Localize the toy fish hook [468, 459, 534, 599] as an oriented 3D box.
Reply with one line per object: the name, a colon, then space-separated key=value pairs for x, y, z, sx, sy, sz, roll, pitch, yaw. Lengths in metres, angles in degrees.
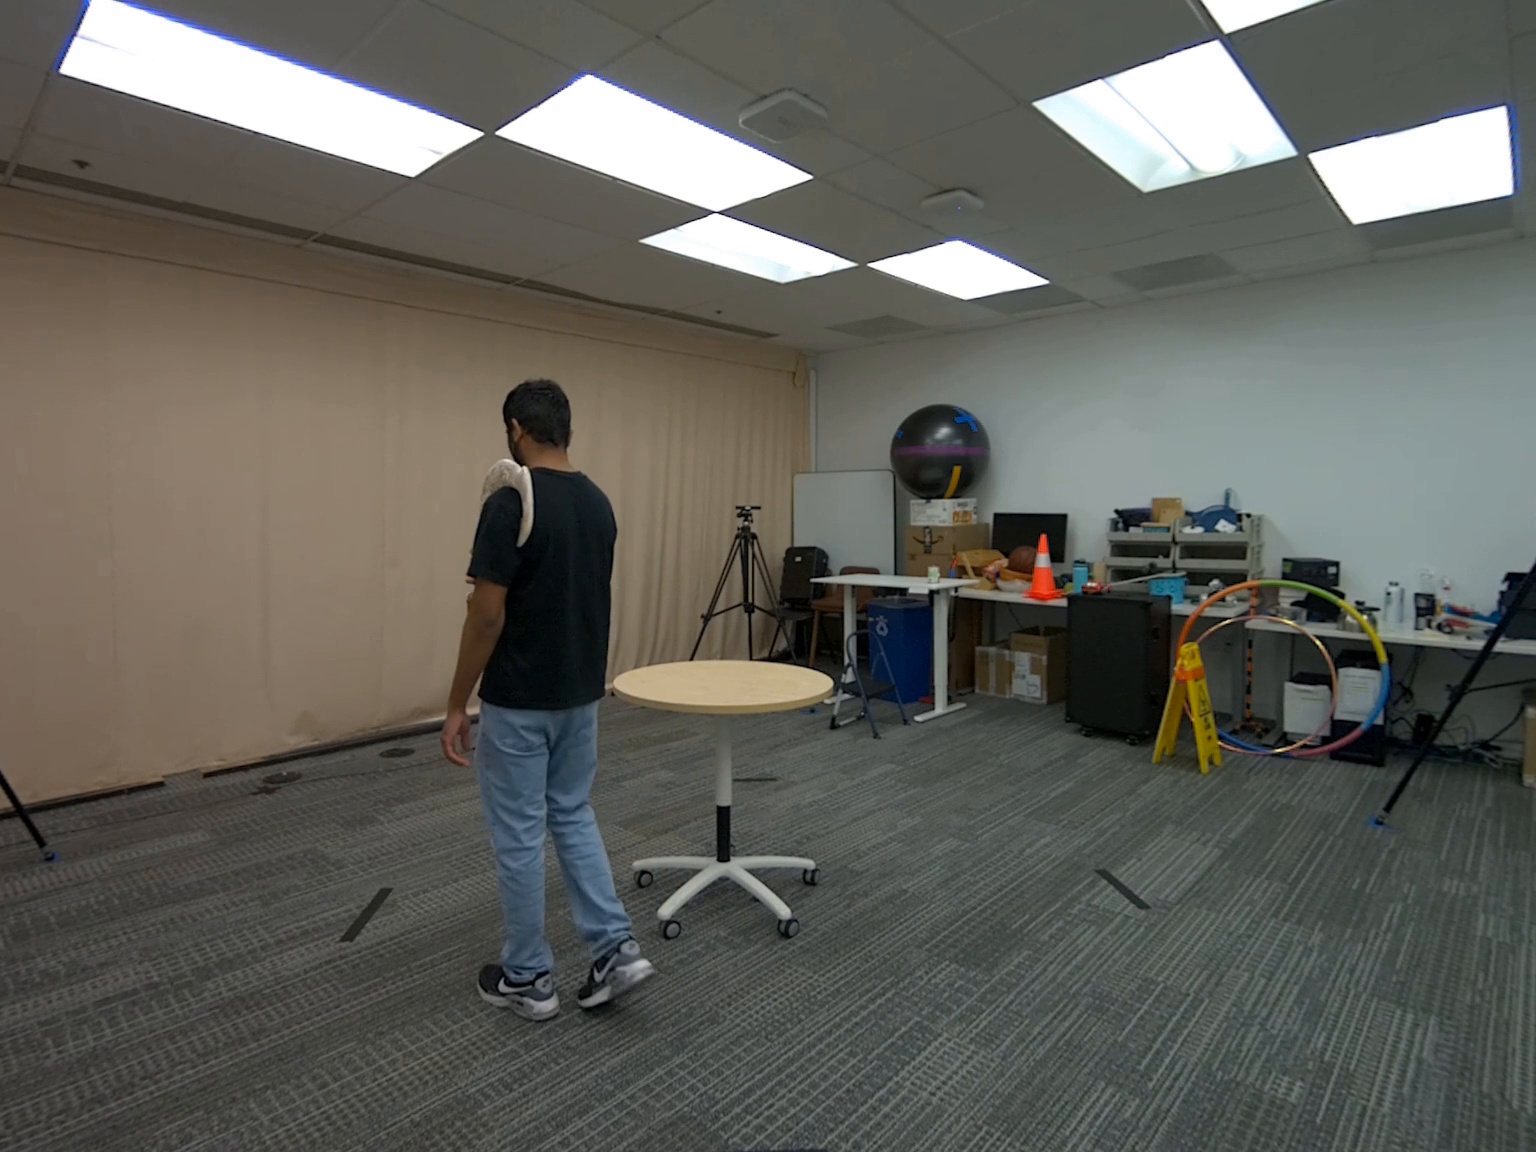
toy fish hook: x=-0.693 y=-0.046 z=2.194 sx=0.047 sy=0.504 sz=0.233 roll=2 pitch=16 yaw=-45
